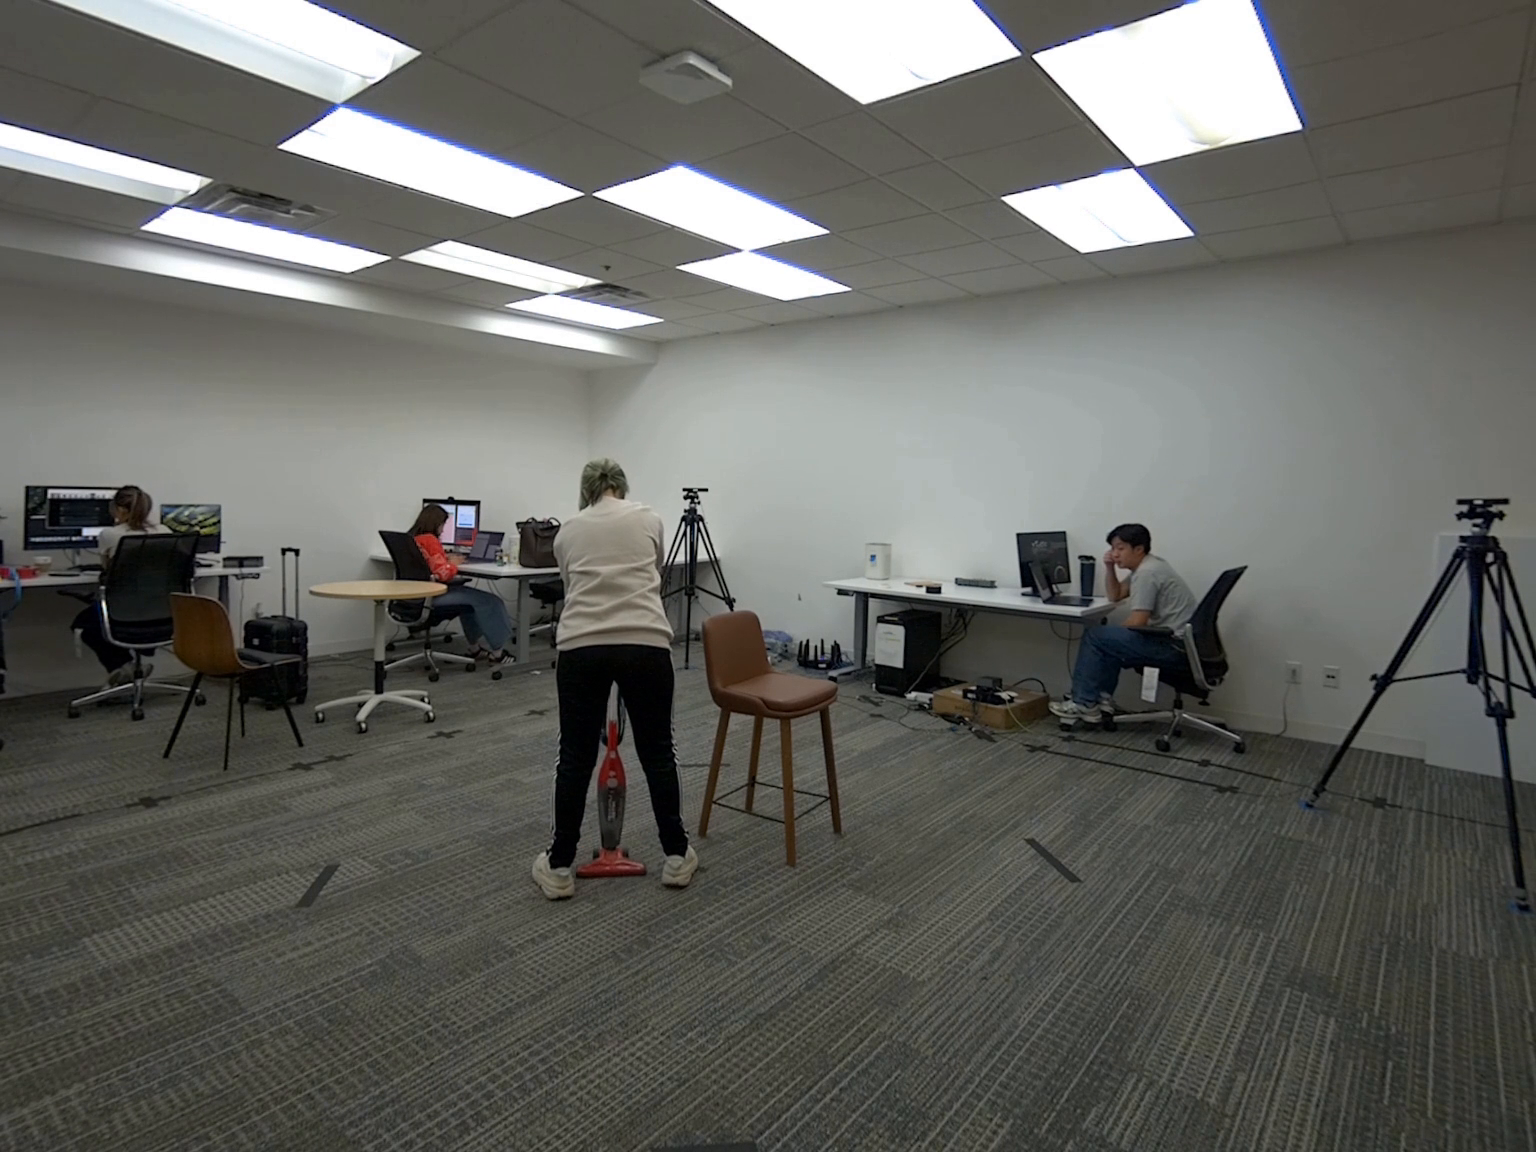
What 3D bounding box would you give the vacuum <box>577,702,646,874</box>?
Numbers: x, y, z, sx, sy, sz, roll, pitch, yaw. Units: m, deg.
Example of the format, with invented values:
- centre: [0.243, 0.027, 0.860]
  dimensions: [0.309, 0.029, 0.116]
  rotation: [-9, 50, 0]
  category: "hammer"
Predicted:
- centre: [-0.620, 0.579, 3.349]
  dimensions: [0.249, 1.077, 0.142]
  rotation: [3, -29, -14]
  category: "vacuum"
